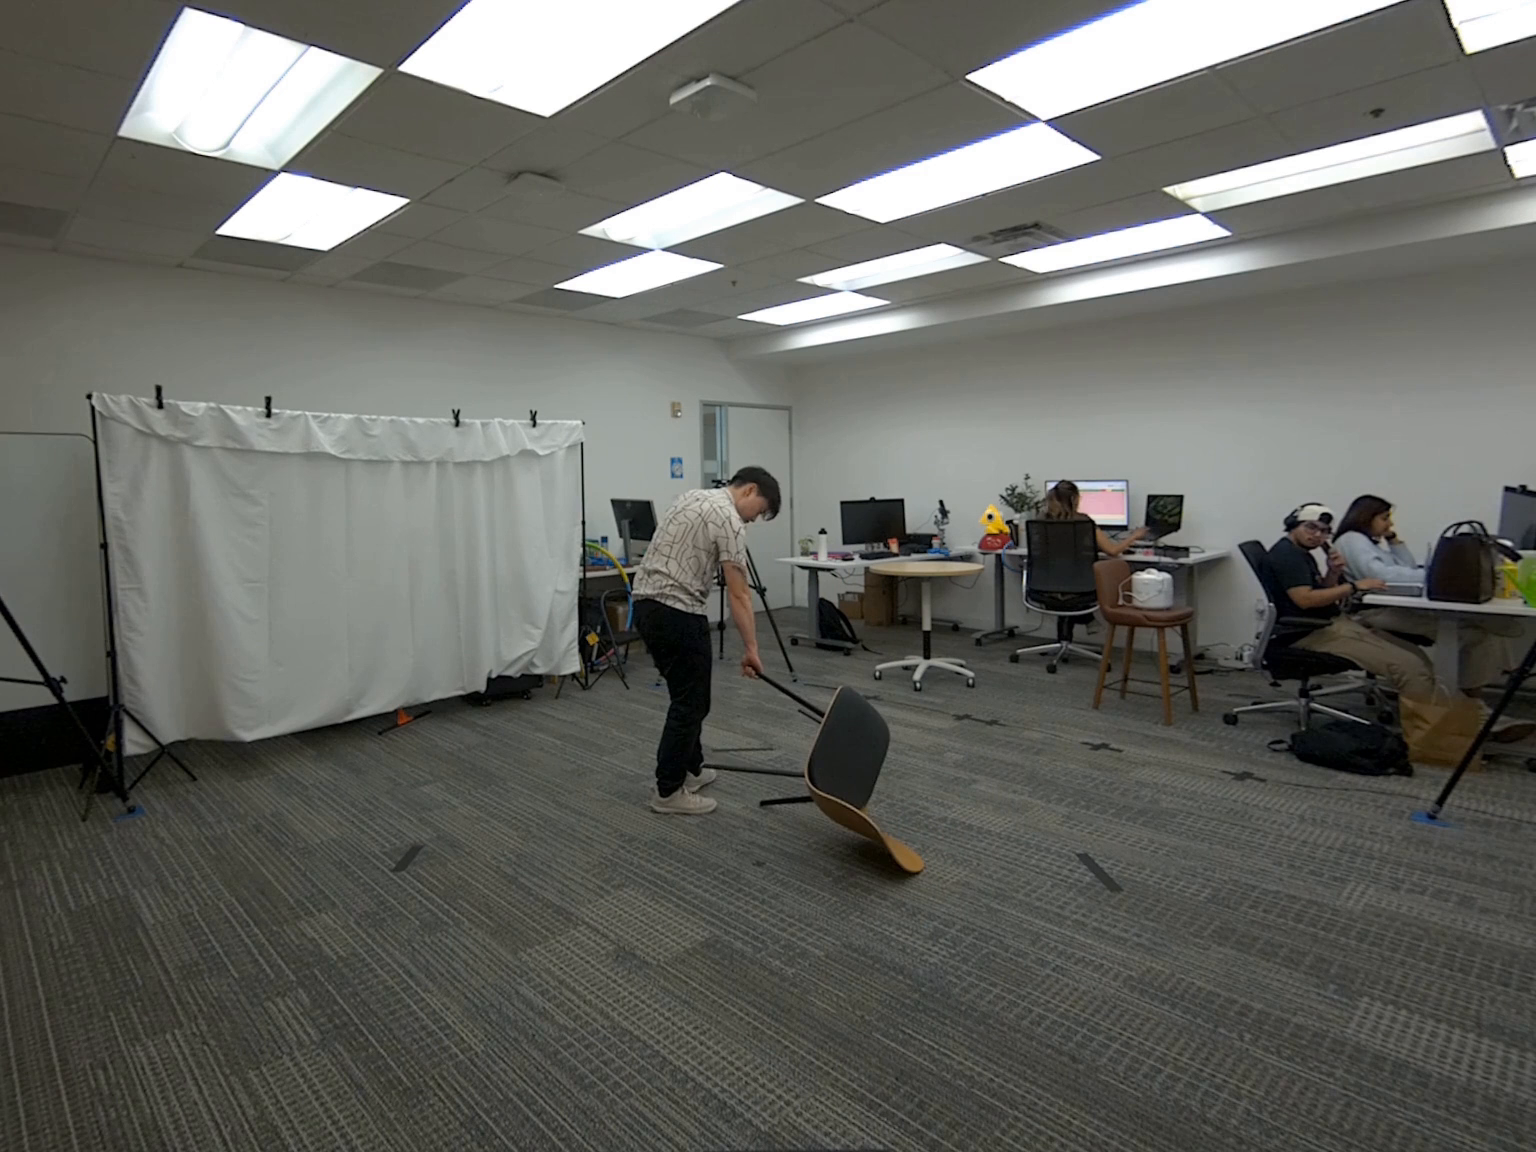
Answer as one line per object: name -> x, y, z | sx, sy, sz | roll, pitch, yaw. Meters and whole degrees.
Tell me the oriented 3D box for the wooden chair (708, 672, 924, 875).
wooden chair -> 0.270, 0.715, 3.312 | 0.907, 0.526, 0.460 | 11, -25, 45
